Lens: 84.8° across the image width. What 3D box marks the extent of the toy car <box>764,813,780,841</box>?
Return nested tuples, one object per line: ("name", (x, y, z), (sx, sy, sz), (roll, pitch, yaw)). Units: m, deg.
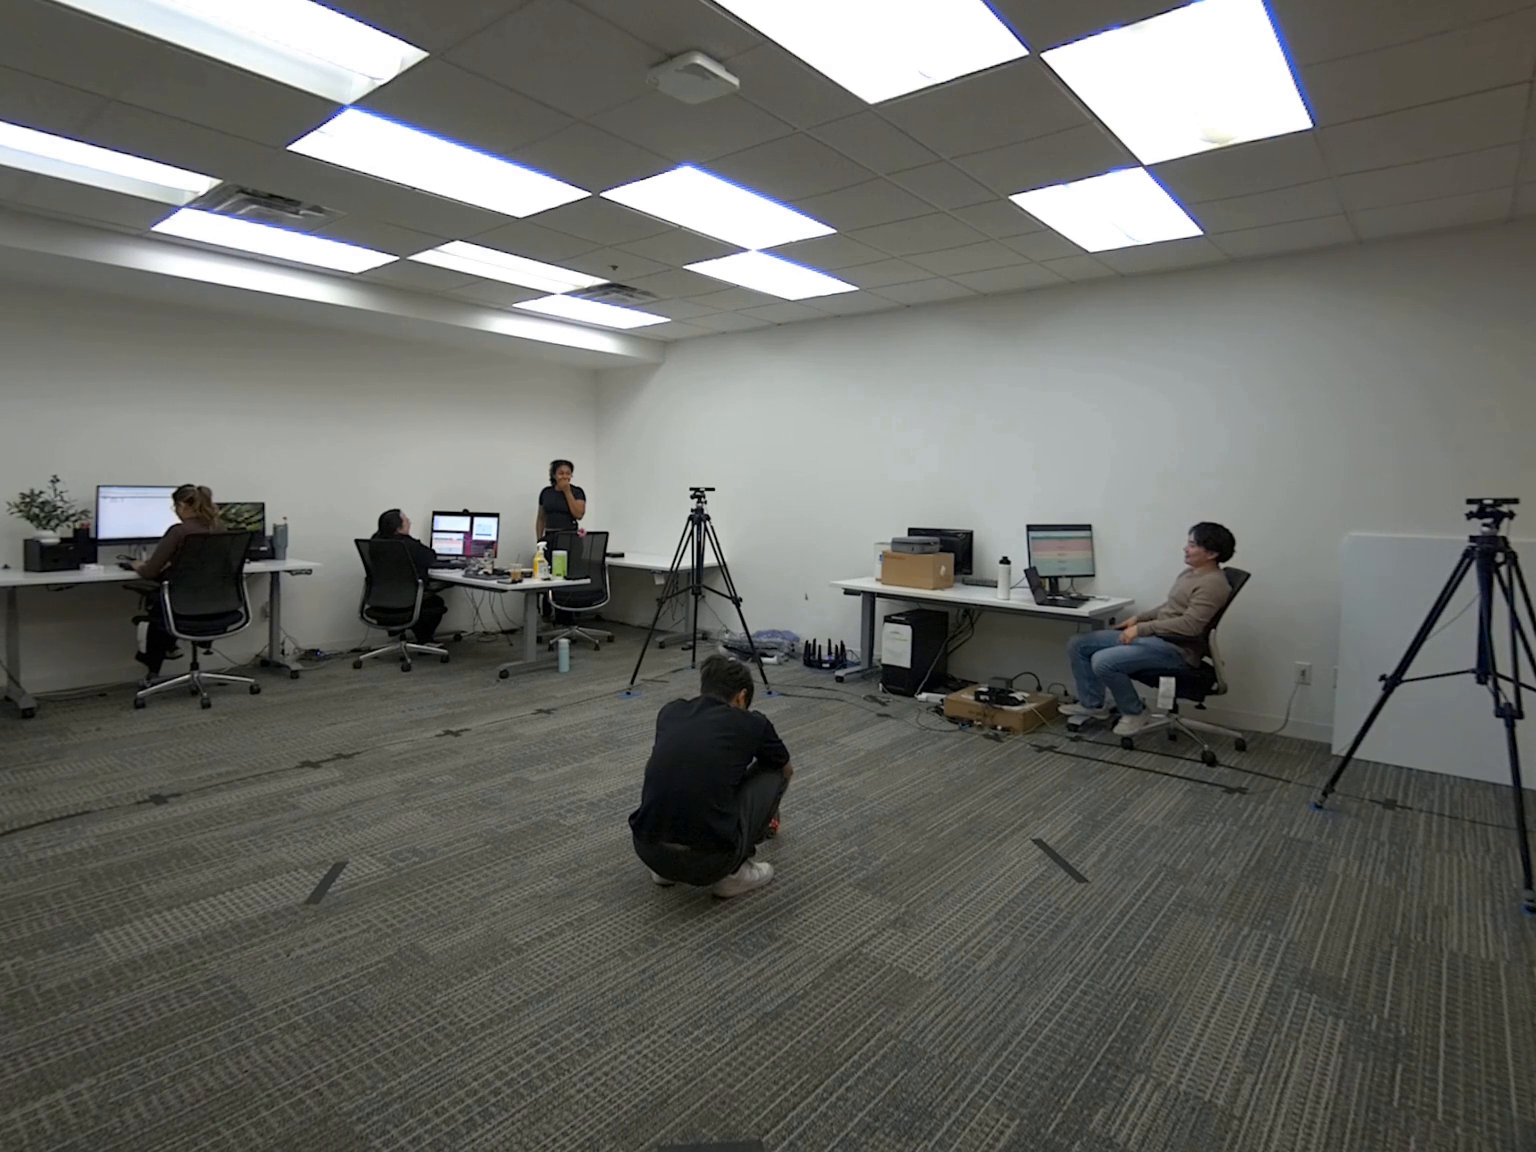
("toy car", (-0.098, 1.004, 3.424), (0.250, 0.083, 0.132), (14, 1, -13))
